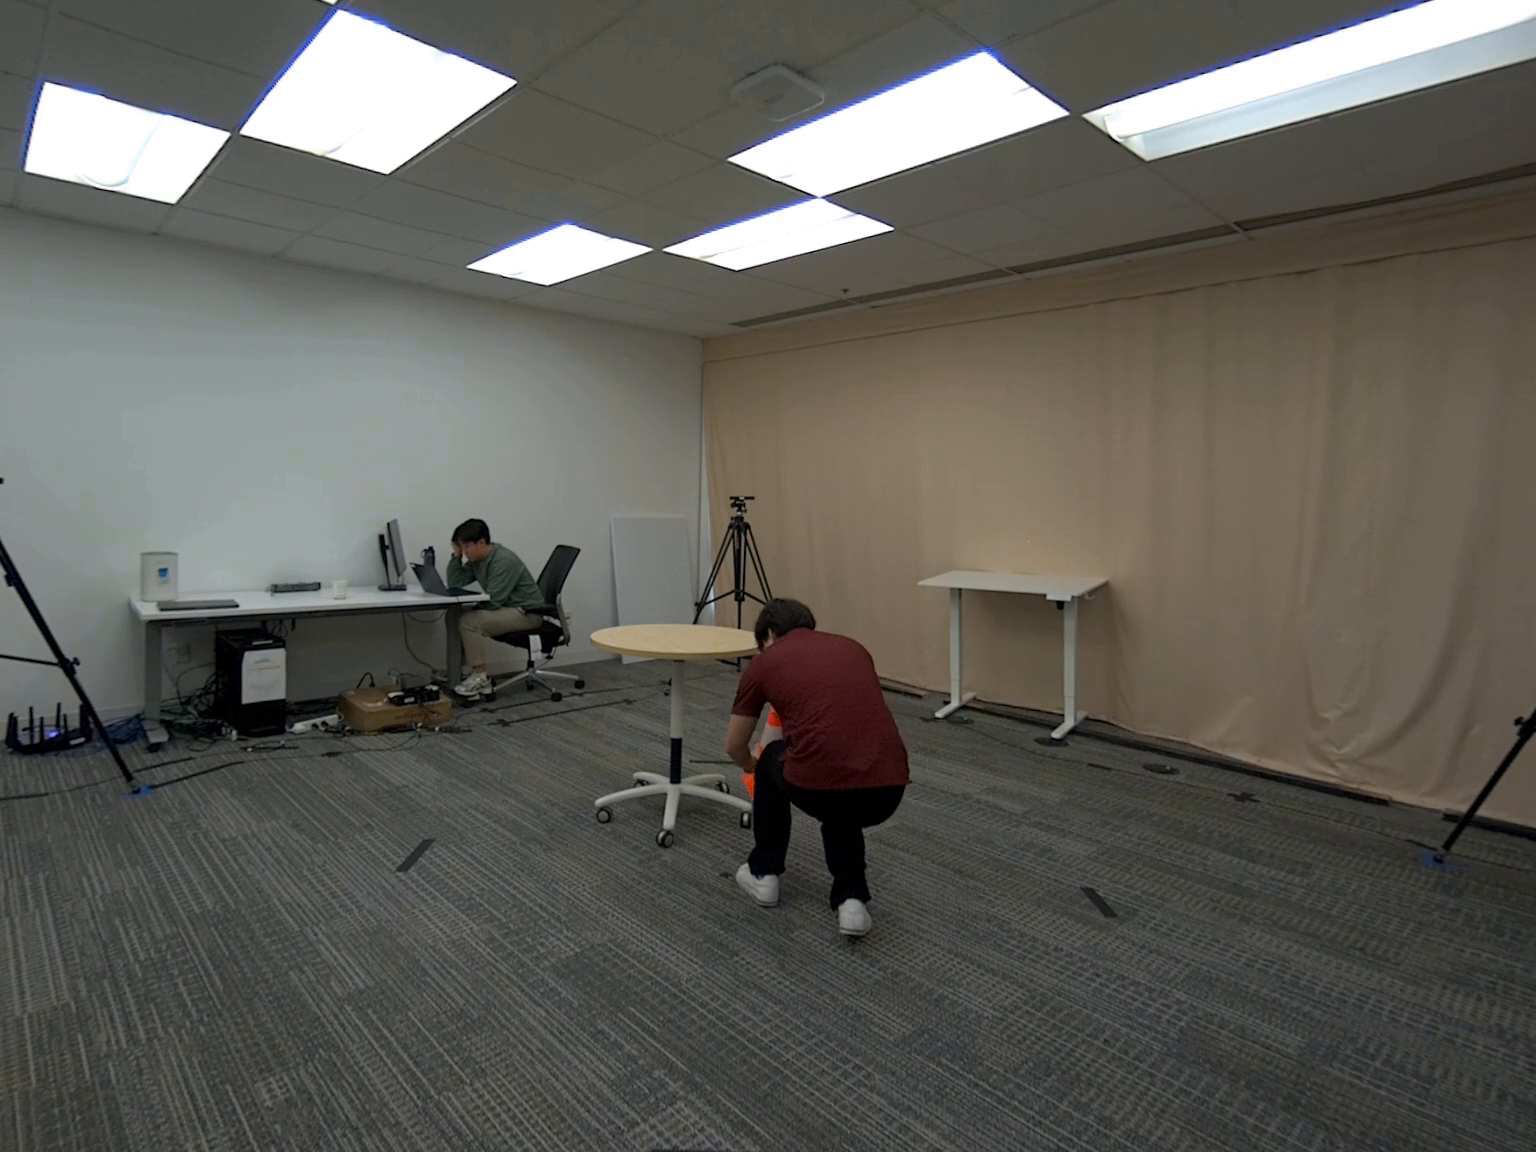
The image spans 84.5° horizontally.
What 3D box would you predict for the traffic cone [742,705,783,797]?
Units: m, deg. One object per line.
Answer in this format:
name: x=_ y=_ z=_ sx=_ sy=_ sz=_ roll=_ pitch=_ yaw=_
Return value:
traffic cone: x=0.020 y=0.642 z=3.235 sx=0.202 sy=0.381 sz=0.208 roll=0 pitch=11 yaw=-19
